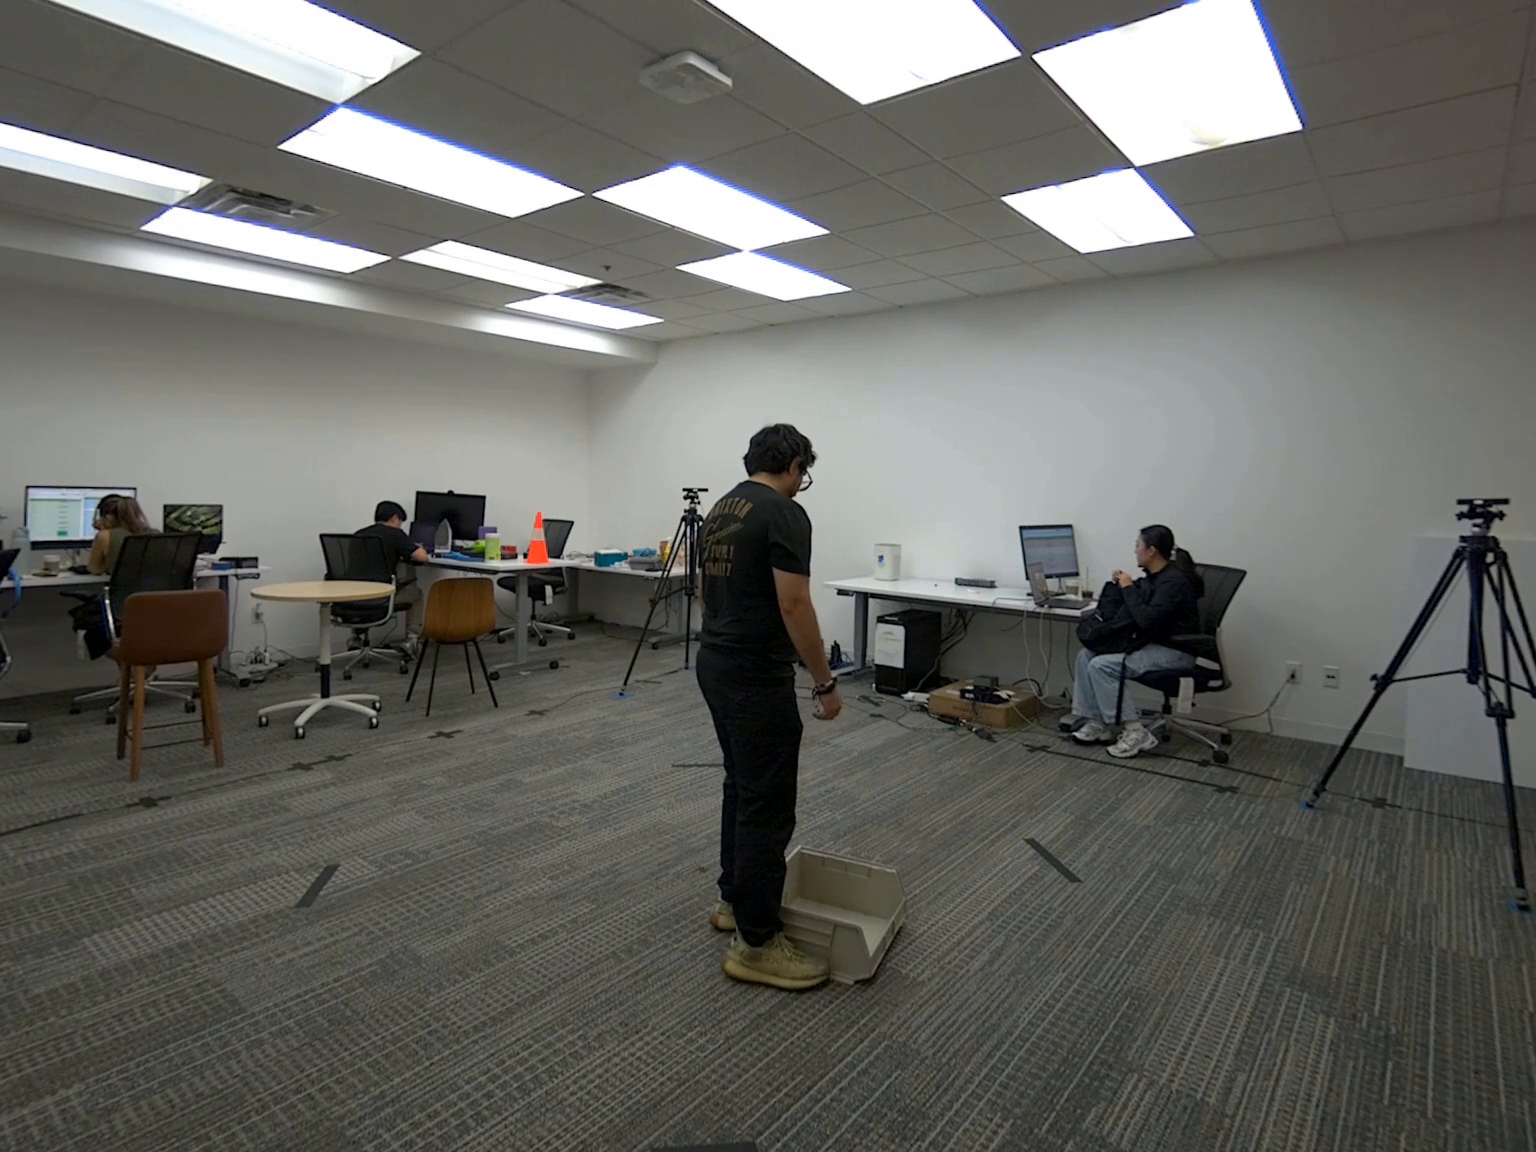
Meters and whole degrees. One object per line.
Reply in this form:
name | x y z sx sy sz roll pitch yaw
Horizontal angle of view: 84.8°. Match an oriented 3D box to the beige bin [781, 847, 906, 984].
beige bin | 0.196 1.040 2.634 0.387 0.188 0.413 3 5 24
